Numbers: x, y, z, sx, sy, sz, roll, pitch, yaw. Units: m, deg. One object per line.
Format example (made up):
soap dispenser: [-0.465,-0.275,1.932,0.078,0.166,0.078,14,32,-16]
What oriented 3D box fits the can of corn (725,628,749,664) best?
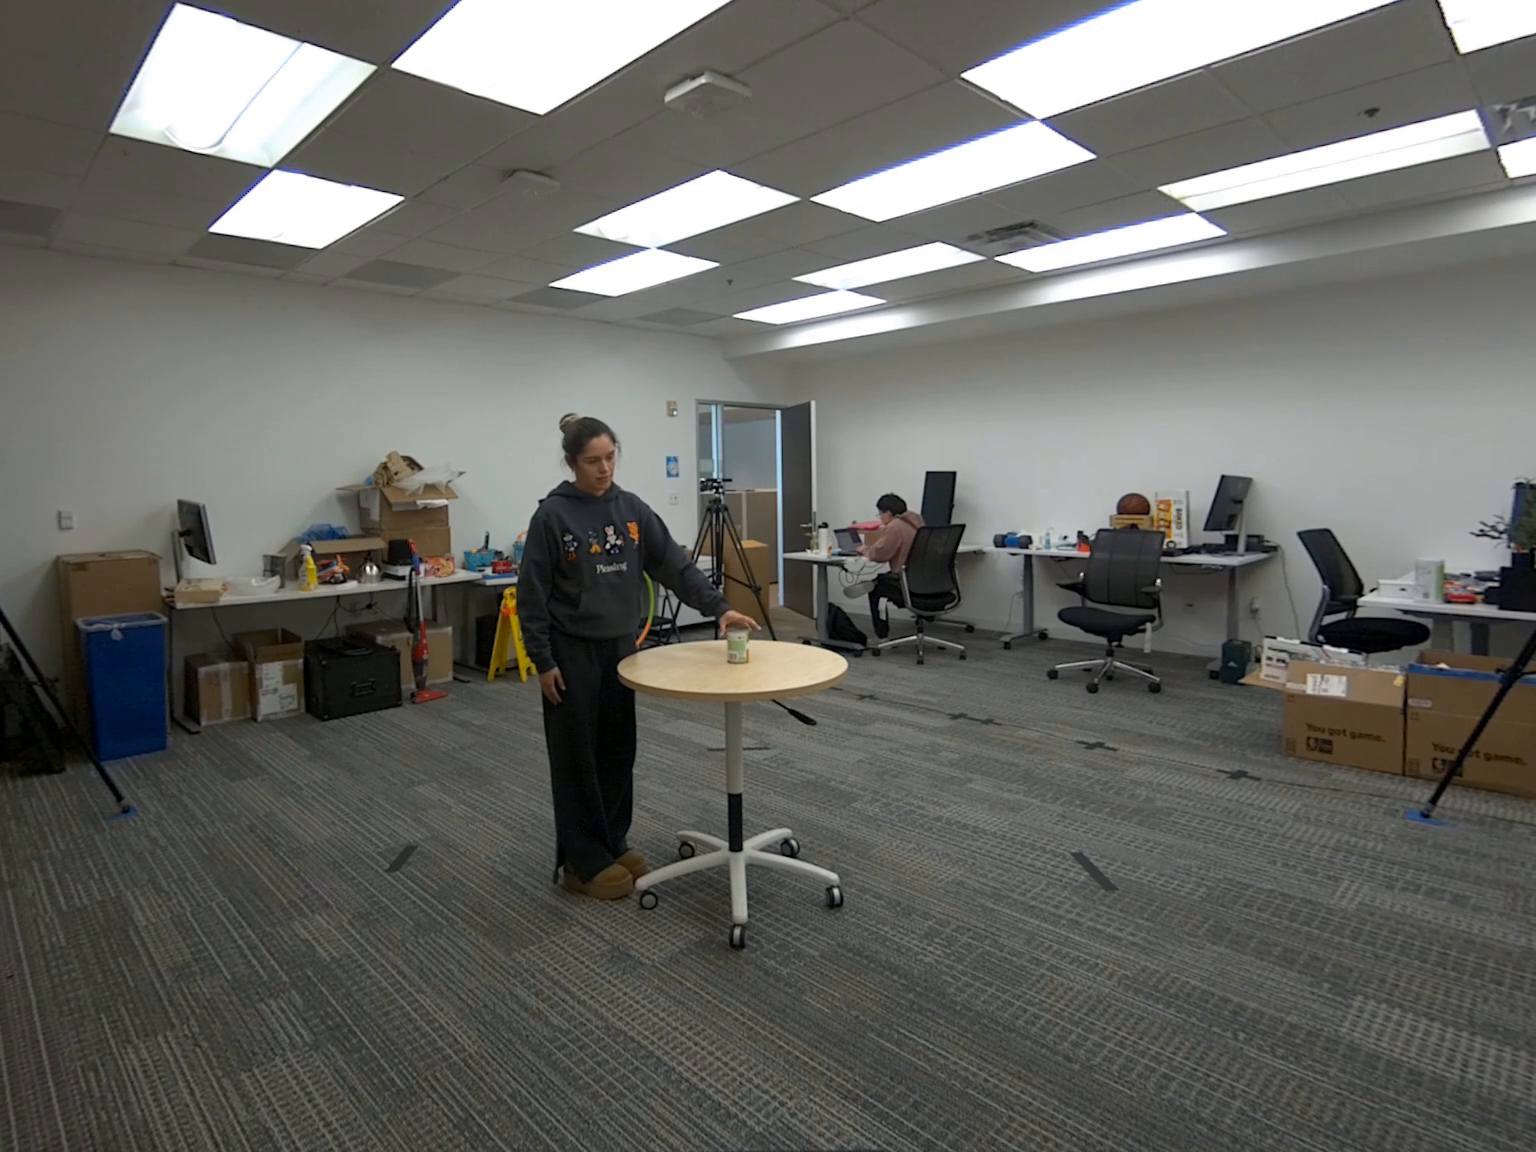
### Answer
can of corn: [-0.103,0.229,2.859,0.074,0.111,0.074,0,2,-2]
